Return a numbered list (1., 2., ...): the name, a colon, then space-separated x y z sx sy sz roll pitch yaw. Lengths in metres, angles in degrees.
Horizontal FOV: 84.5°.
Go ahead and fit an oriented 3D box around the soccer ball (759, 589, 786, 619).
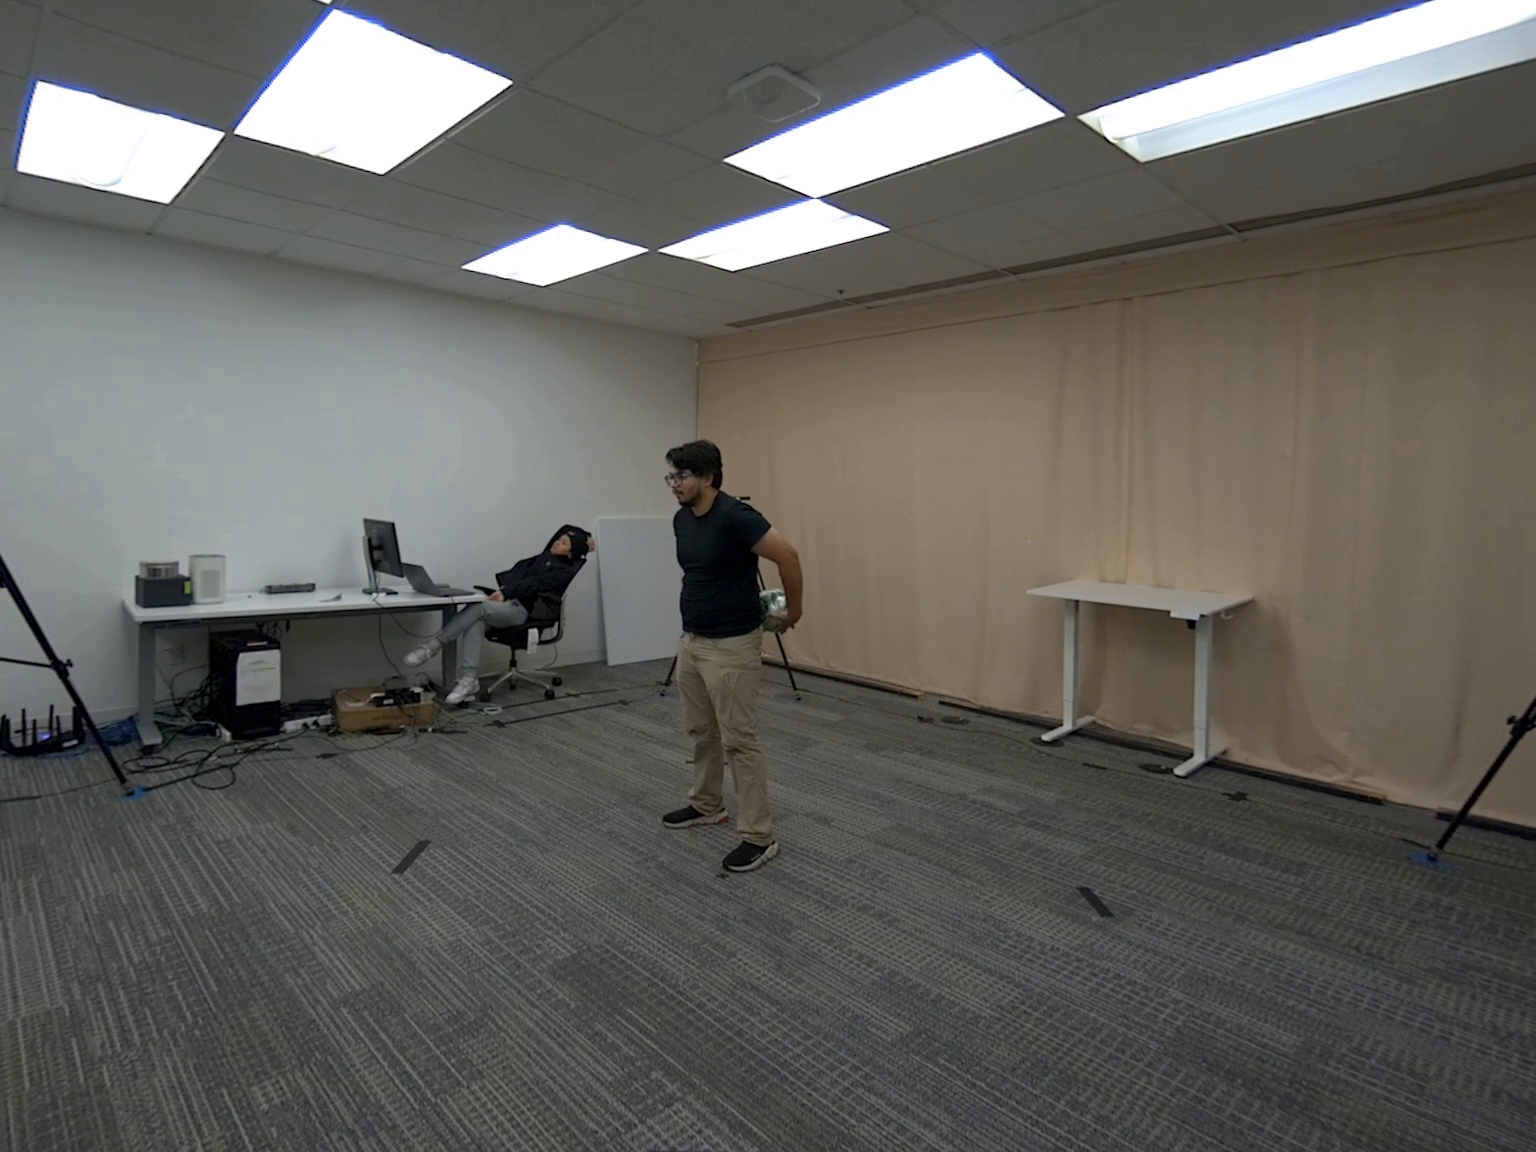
1. soccer ball: 0.022 0.139 3.510 0.187 0.187 0.188 1 4 -1
